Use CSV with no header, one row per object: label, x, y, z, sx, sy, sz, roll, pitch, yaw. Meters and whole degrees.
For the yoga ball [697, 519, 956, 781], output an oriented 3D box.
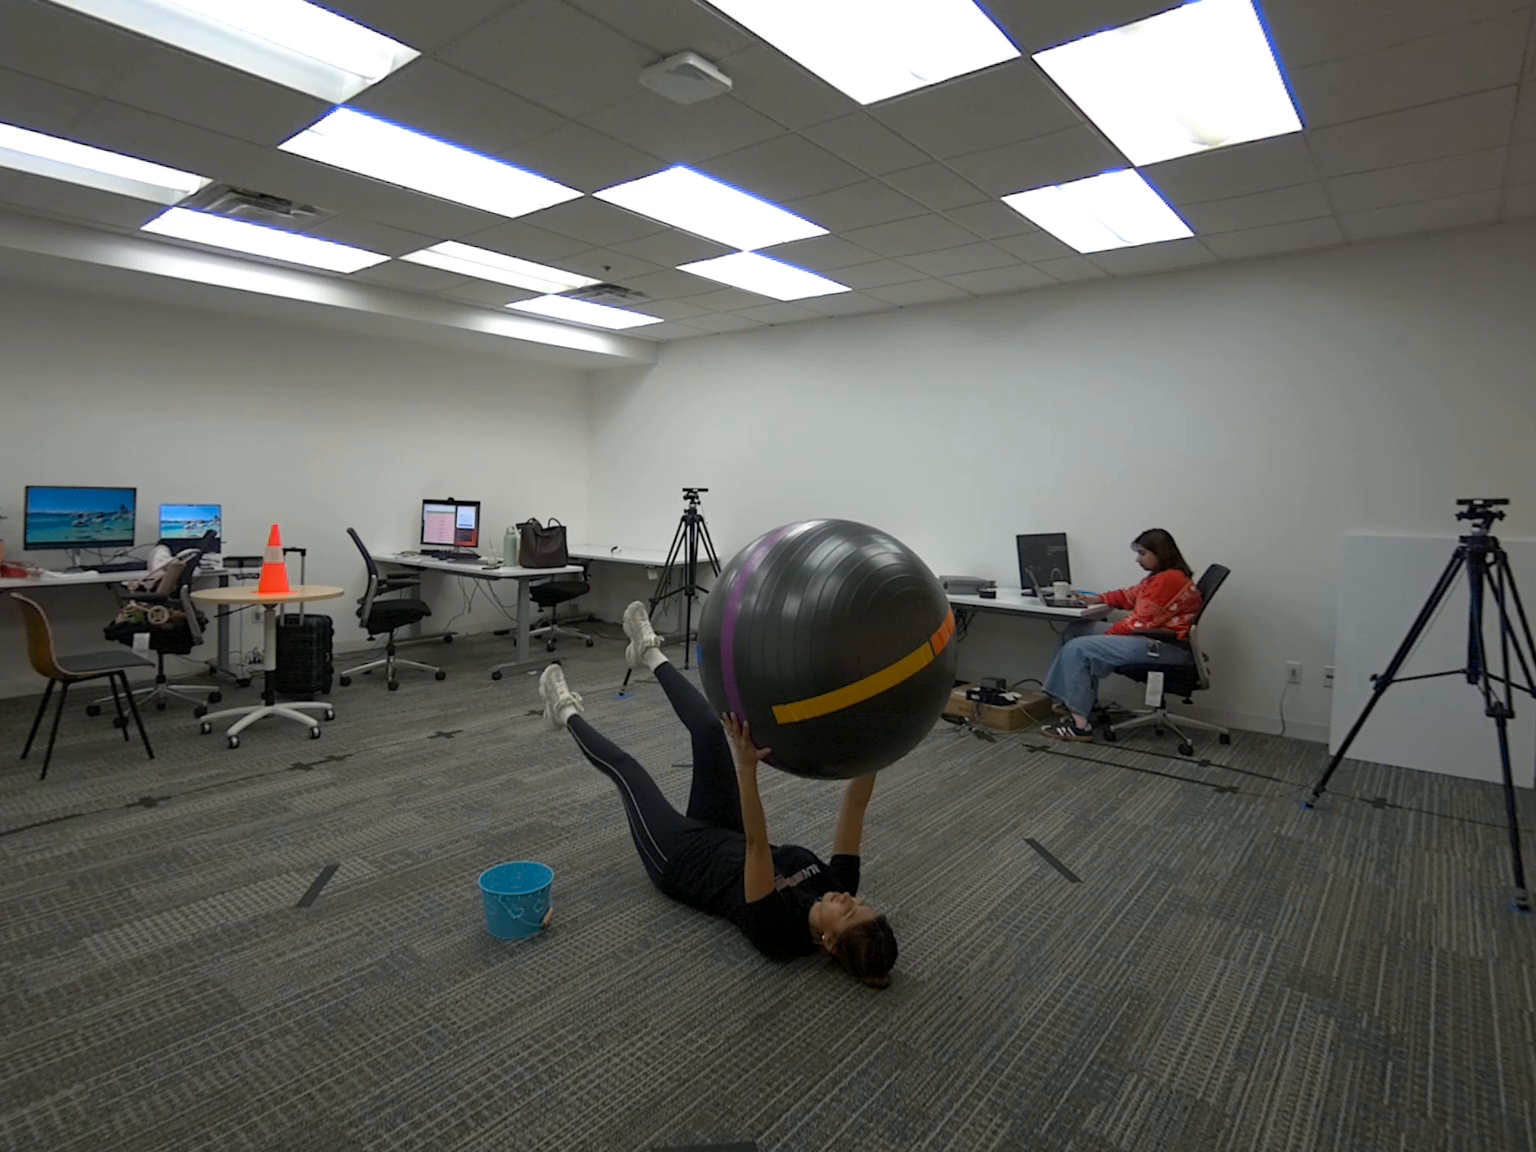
yoga ball,0.162,0.211,2.504,0.757,0.756,0.761,-3,3,-2
